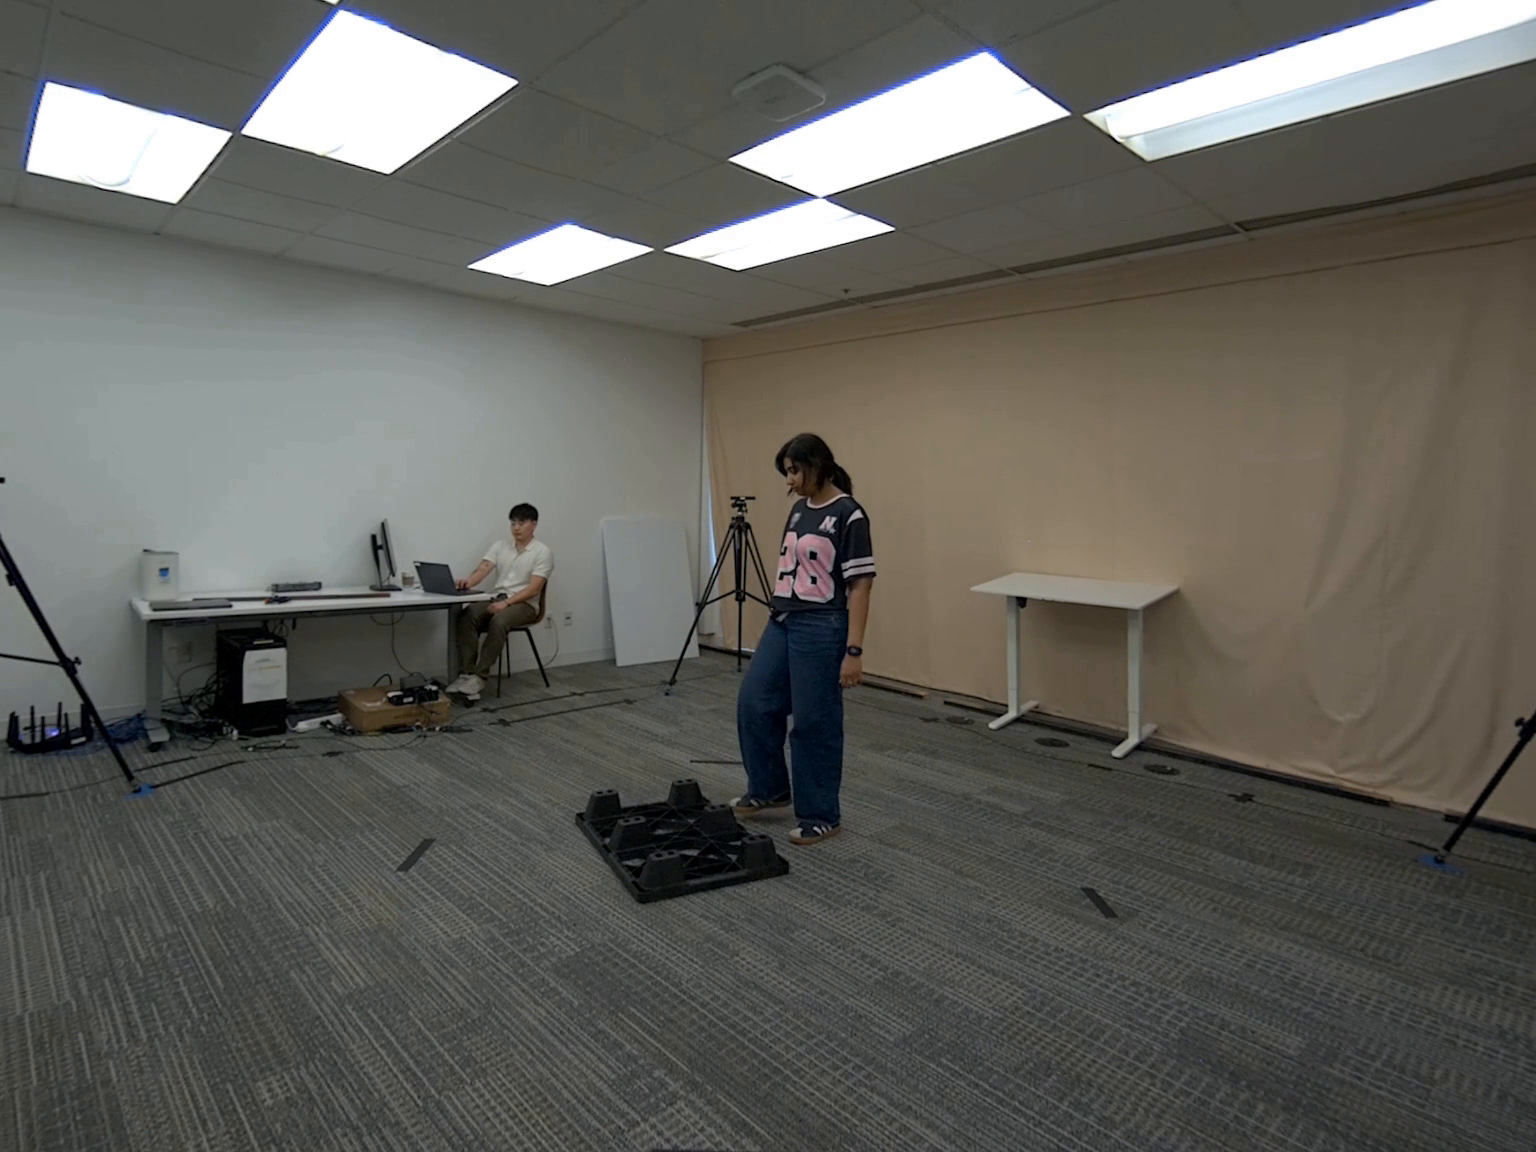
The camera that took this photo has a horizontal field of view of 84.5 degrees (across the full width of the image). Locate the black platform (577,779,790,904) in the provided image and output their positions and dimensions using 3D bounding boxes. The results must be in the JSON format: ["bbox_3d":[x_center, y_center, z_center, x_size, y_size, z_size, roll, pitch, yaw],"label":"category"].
[{"bbox_3d":[-0.368,1.013,3.340,0.593,0.143,0.824,-2,6,-28],"label":"black platform"}]
